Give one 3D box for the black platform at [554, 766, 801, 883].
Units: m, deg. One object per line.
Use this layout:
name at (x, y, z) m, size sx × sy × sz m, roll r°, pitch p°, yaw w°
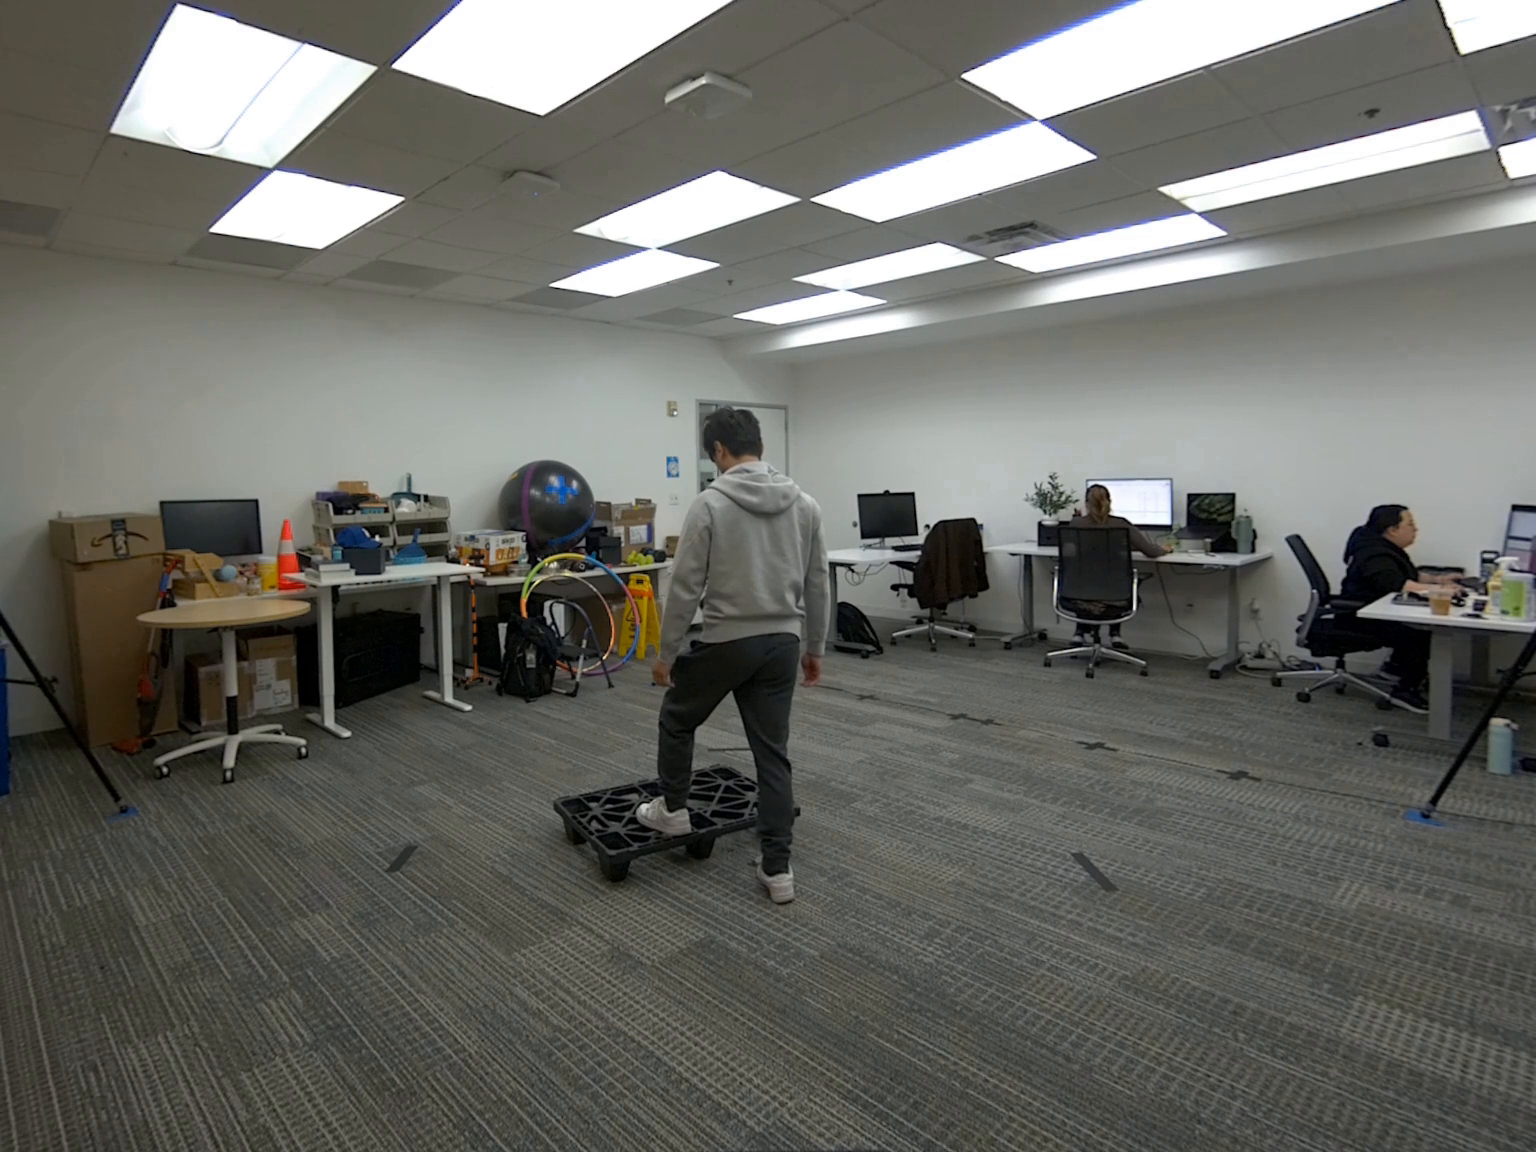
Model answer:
black platform at (-0.355, 0.955, 3.349) m, size 0.787 × 0.142 × 0.623 m, roll -5°, pitch 8°, yaw -31°
